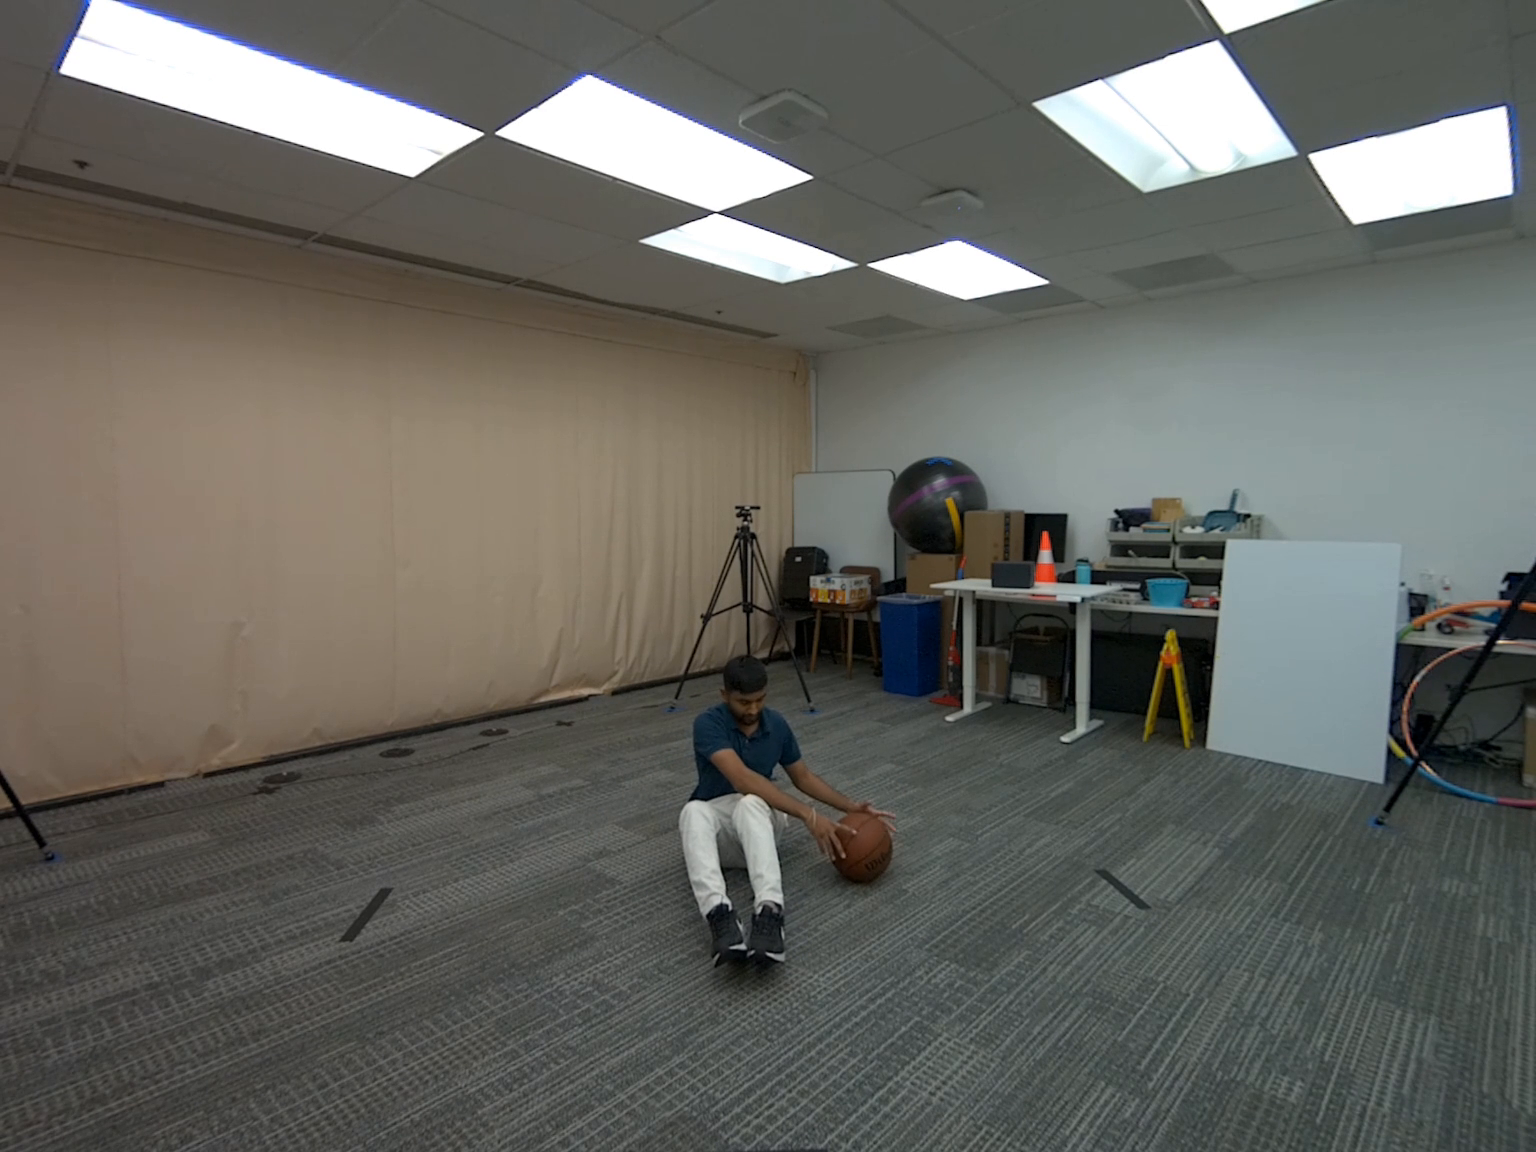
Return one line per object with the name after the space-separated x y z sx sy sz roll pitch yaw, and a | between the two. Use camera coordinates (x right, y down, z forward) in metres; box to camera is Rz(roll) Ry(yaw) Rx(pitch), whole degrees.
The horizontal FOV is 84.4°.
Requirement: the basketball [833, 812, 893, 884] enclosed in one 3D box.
0.351 1.010 3.122 0.236 0.235 0.237 0 4 -2 | basketball
